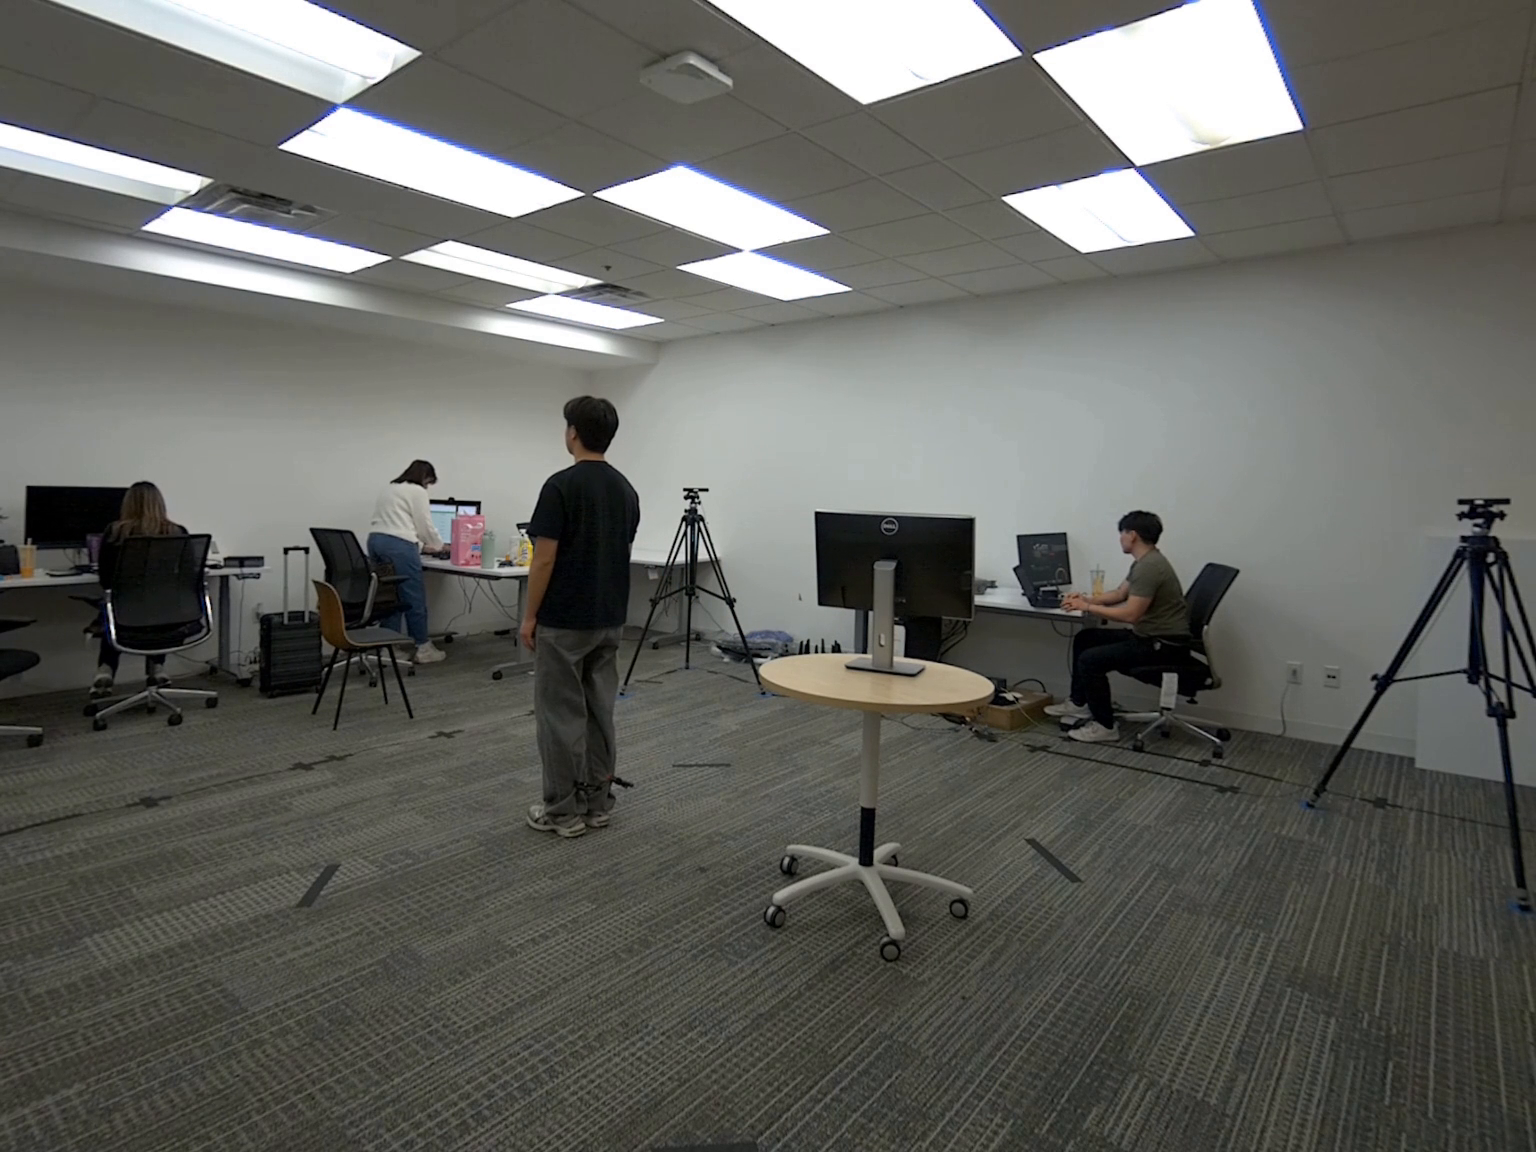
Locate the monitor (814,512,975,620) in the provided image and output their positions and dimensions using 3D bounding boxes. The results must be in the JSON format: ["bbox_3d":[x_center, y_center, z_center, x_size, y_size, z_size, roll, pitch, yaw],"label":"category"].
[{"bbox_3d":[0.419,0.059,2.961,0.577,0.566,0.216,4,1,26],"label":"monitor"}]
